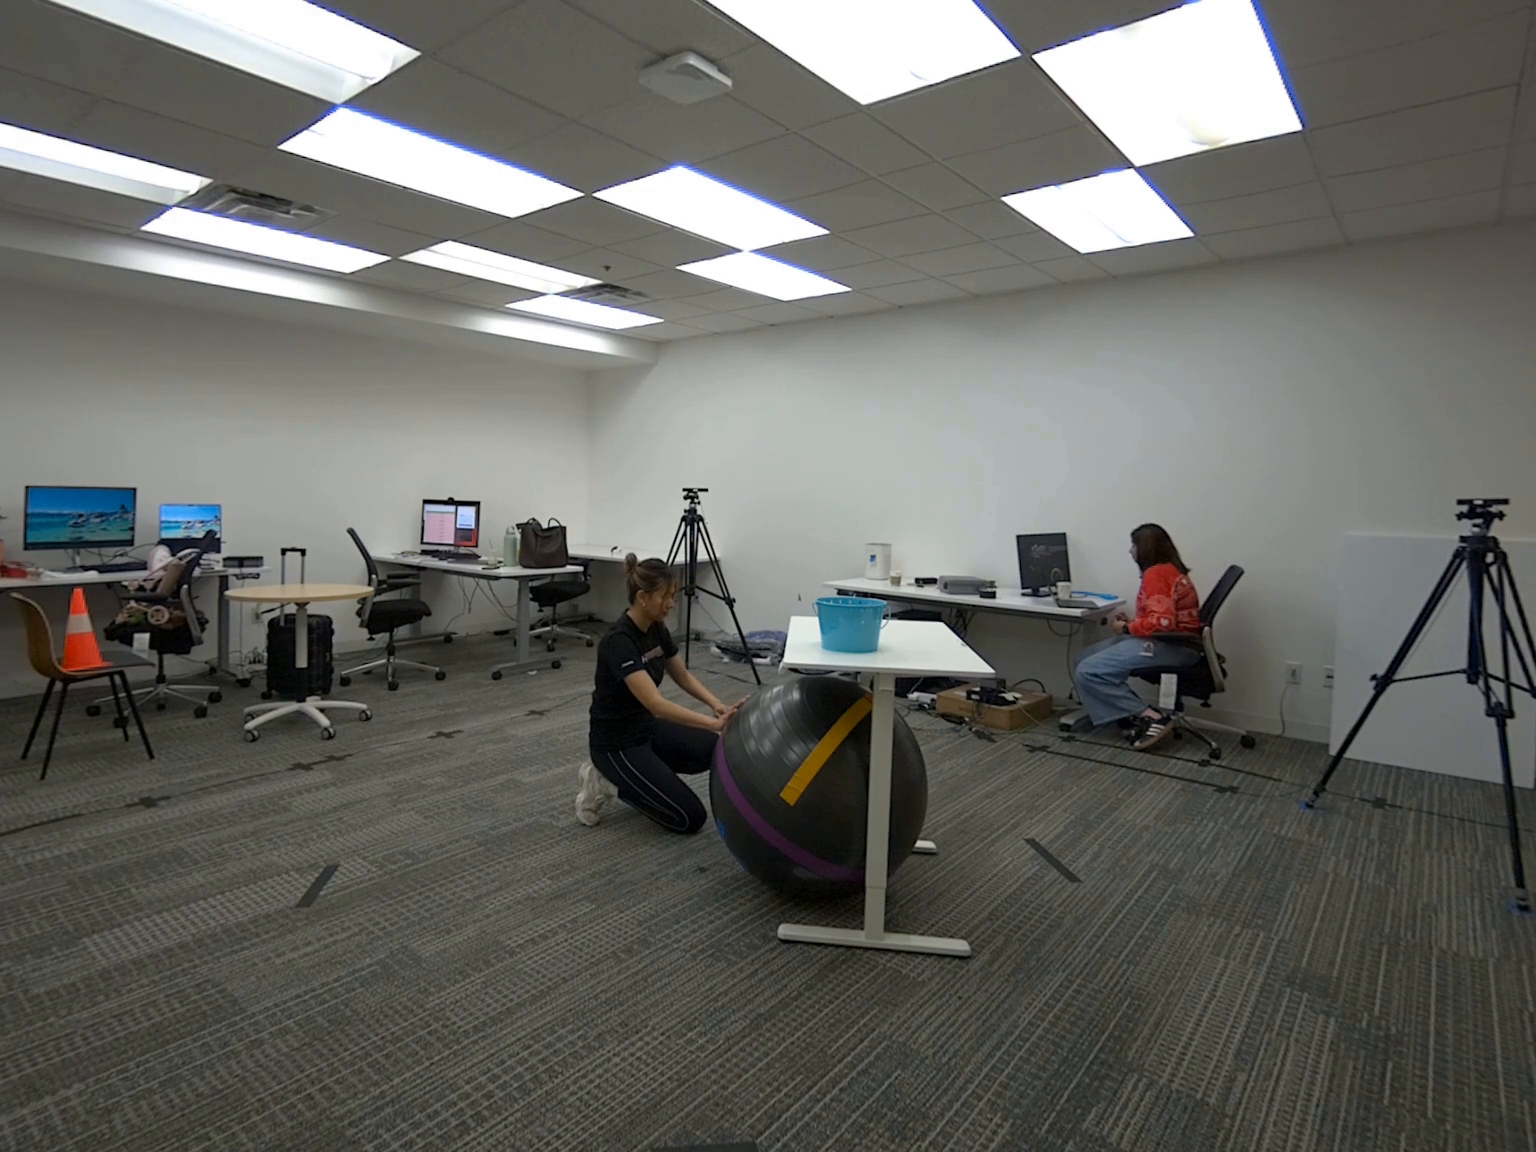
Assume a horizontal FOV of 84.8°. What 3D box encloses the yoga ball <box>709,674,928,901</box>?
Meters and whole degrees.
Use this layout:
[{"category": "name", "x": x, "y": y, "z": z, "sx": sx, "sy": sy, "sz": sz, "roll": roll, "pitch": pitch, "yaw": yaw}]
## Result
[{"category": "yoga ball", "x": 0.174, "y": 0.742, "z": 2.972, "sx": 0.757, "sy": 0.756, "sz": 0.762, "roll": 1, "pitch": 4, "yaw": -2}]
